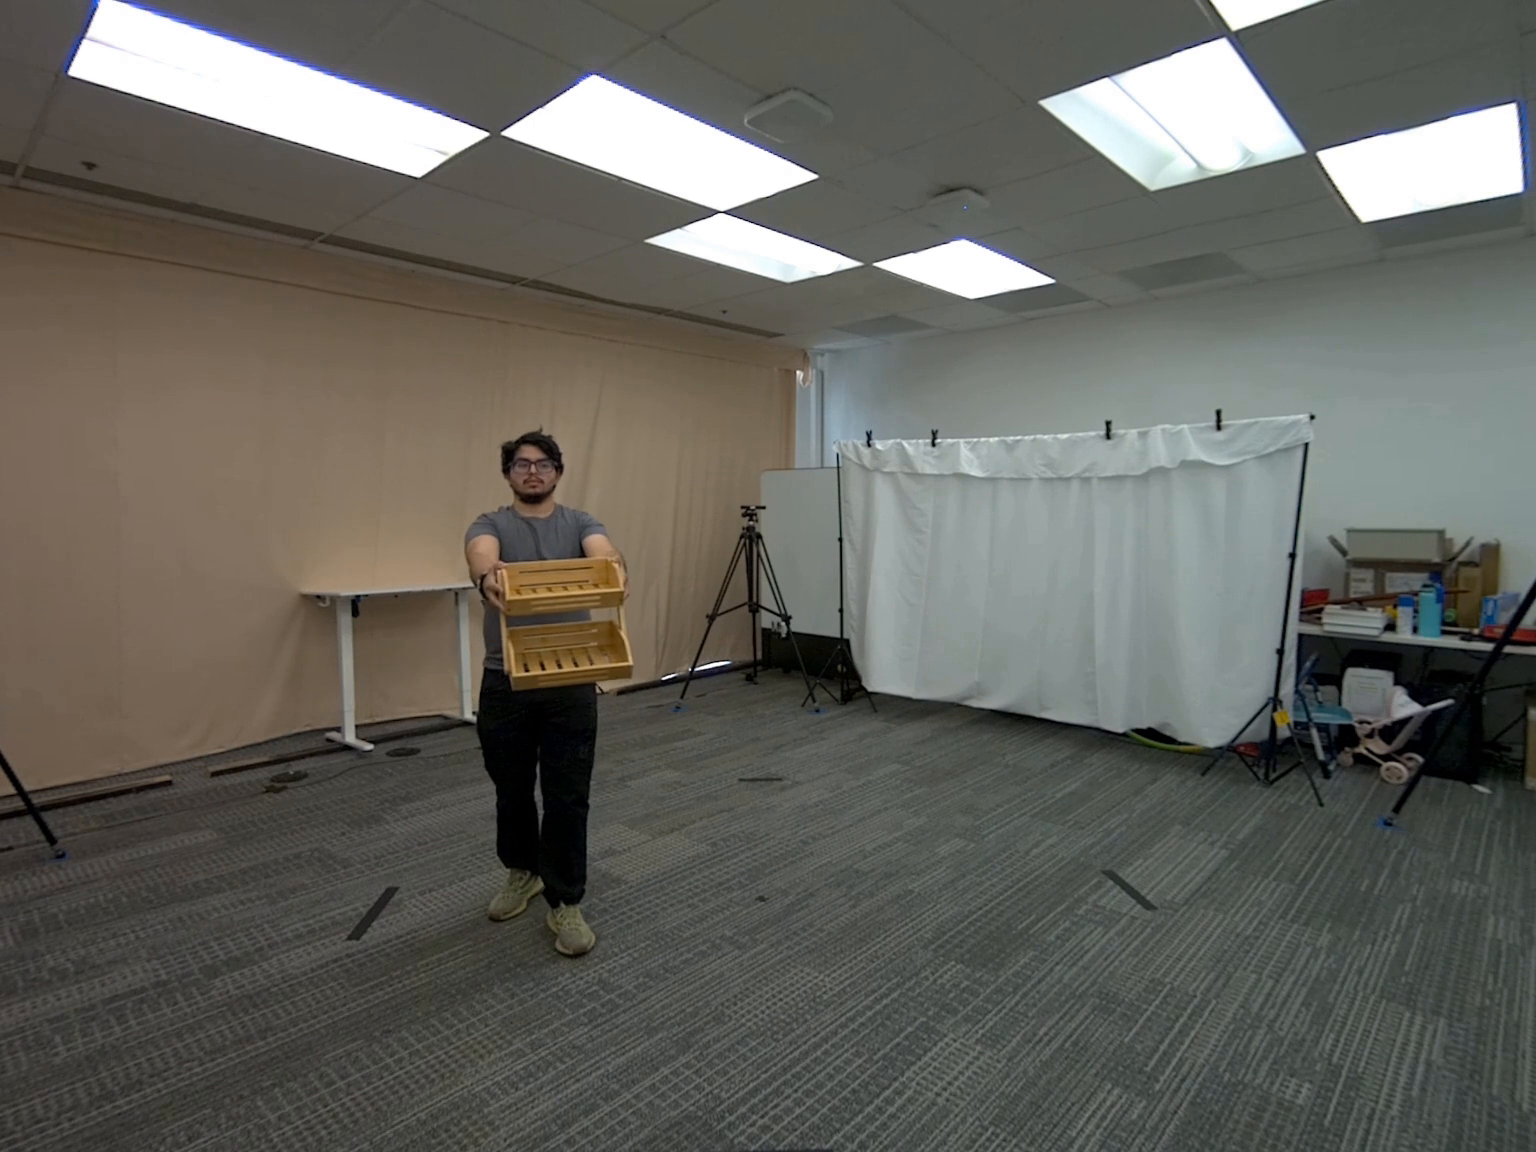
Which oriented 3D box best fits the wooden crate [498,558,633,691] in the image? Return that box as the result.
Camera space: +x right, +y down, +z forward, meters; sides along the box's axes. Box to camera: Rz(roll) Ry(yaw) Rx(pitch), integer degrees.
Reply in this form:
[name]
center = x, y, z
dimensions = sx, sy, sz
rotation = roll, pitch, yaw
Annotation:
[wooden crate]
center = -0.538, 0.114, 2.204
dimensions = 0.319, 0.271, 0.309
rotation = -3, 13, -18
